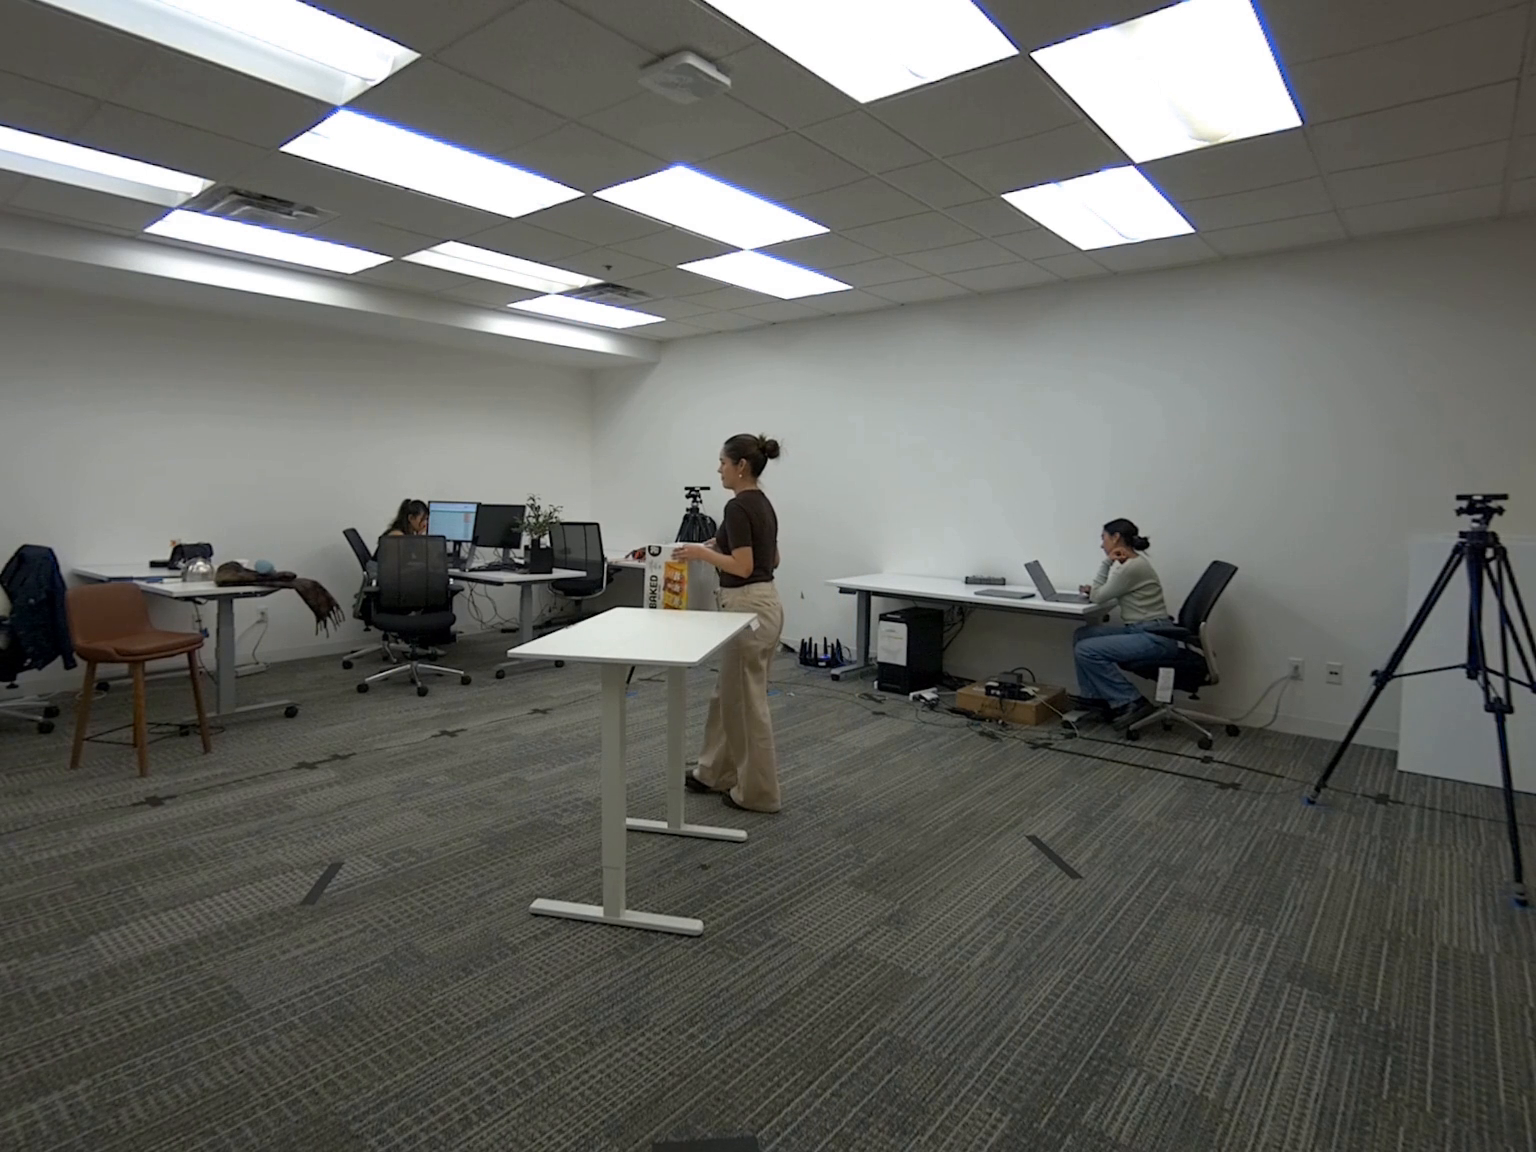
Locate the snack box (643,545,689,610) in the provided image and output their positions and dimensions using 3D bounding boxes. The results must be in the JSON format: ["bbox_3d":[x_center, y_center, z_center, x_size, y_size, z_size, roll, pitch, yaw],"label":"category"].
[{"bbox_3d":[-0.407,0.056,3.849,0.210,0.404,0.334,3,3,18],"label":"snack box"}]
